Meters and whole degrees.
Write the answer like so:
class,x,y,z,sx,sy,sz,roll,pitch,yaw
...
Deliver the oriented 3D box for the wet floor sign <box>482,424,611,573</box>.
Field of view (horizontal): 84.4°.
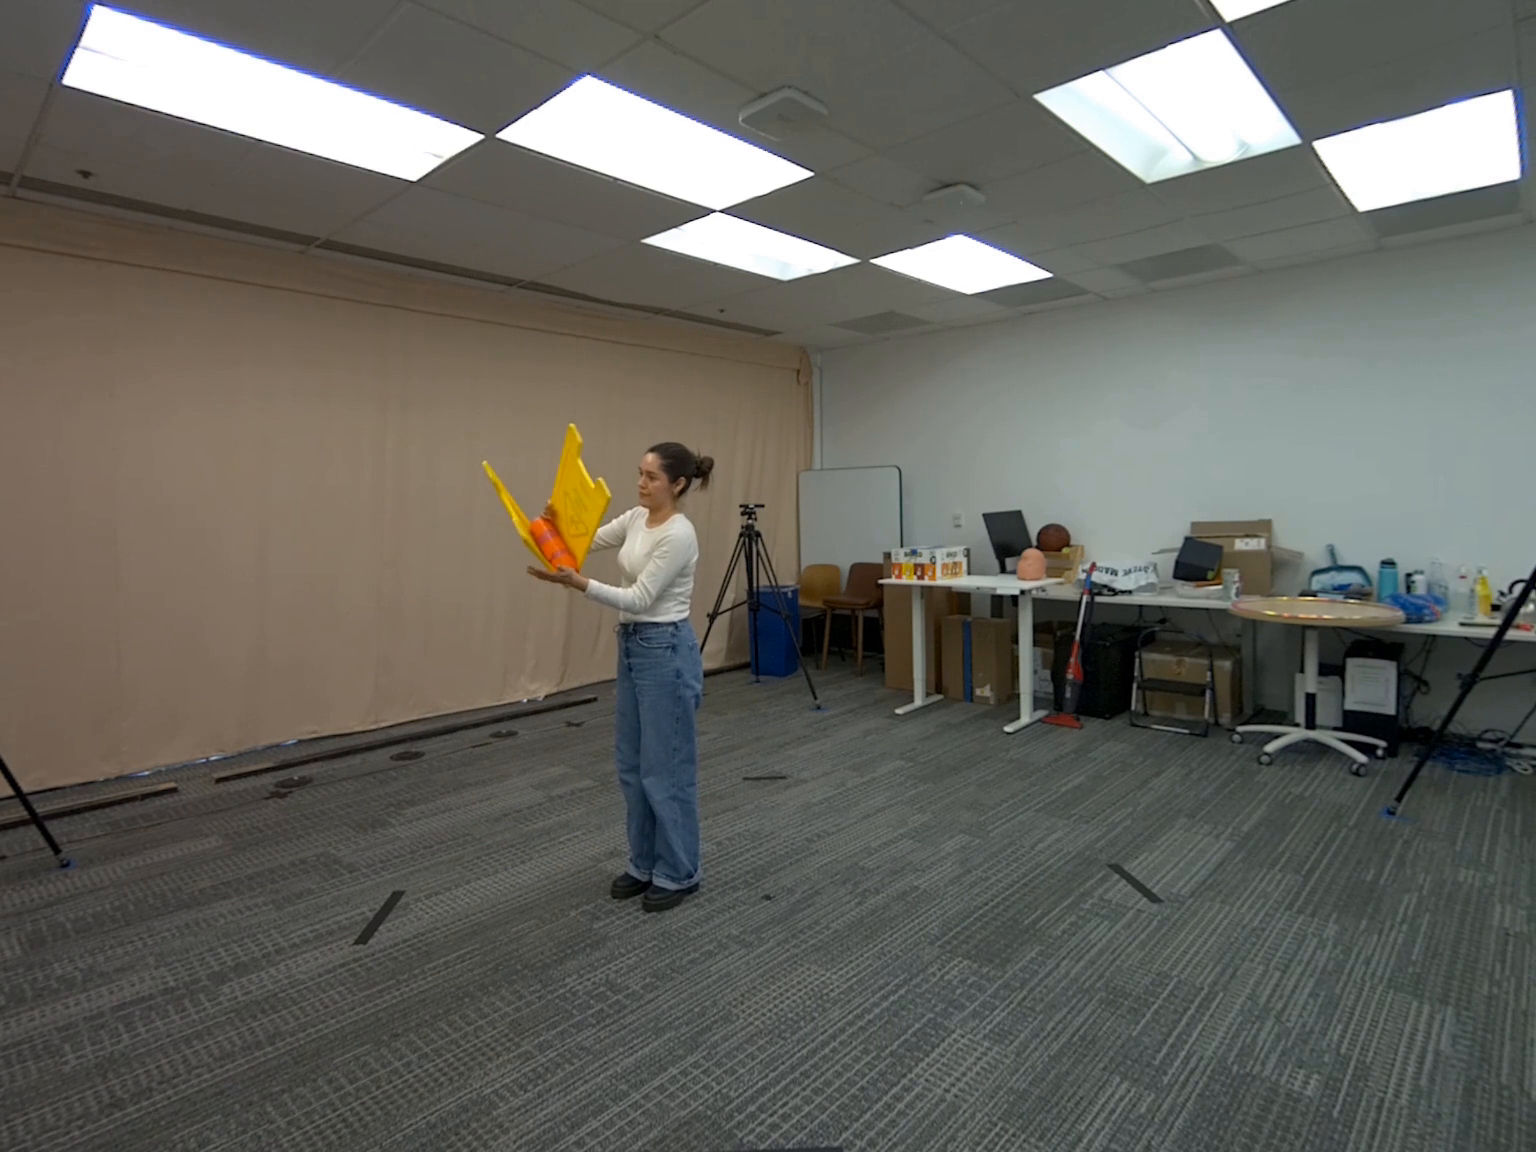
class,x,y,z,sx,sy,sz,roll,pitch,yaw
wet floor sign,-0.708,-0.154,2.714,0.286,0.287,0.643,-25,-17,-20
